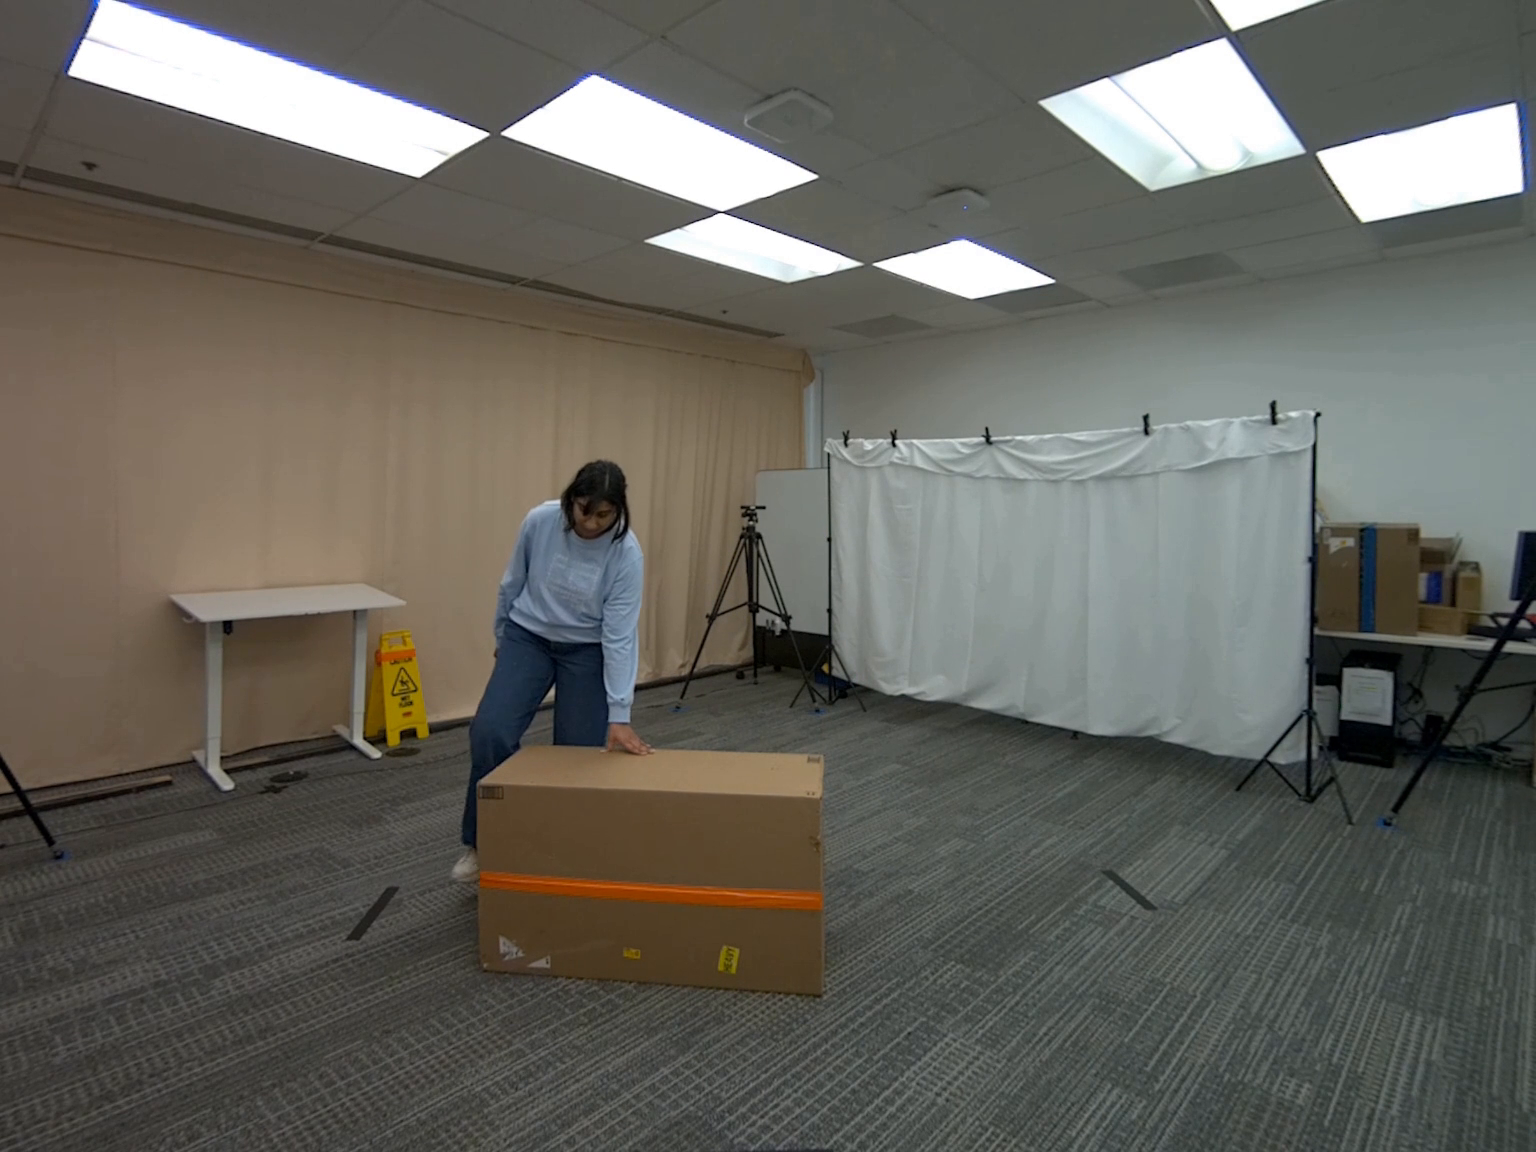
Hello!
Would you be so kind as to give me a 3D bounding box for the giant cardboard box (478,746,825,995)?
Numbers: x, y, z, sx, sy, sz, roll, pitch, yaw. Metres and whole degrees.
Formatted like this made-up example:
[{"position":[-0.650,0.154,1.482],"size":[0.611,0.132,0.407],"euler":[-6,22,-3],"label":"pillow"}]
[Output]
[{"position":[-0.335,0.885,2.639],"size":[1.035,0.576,0.423],"euler":[0,4,8],"label":"giant cardboard box"}]
